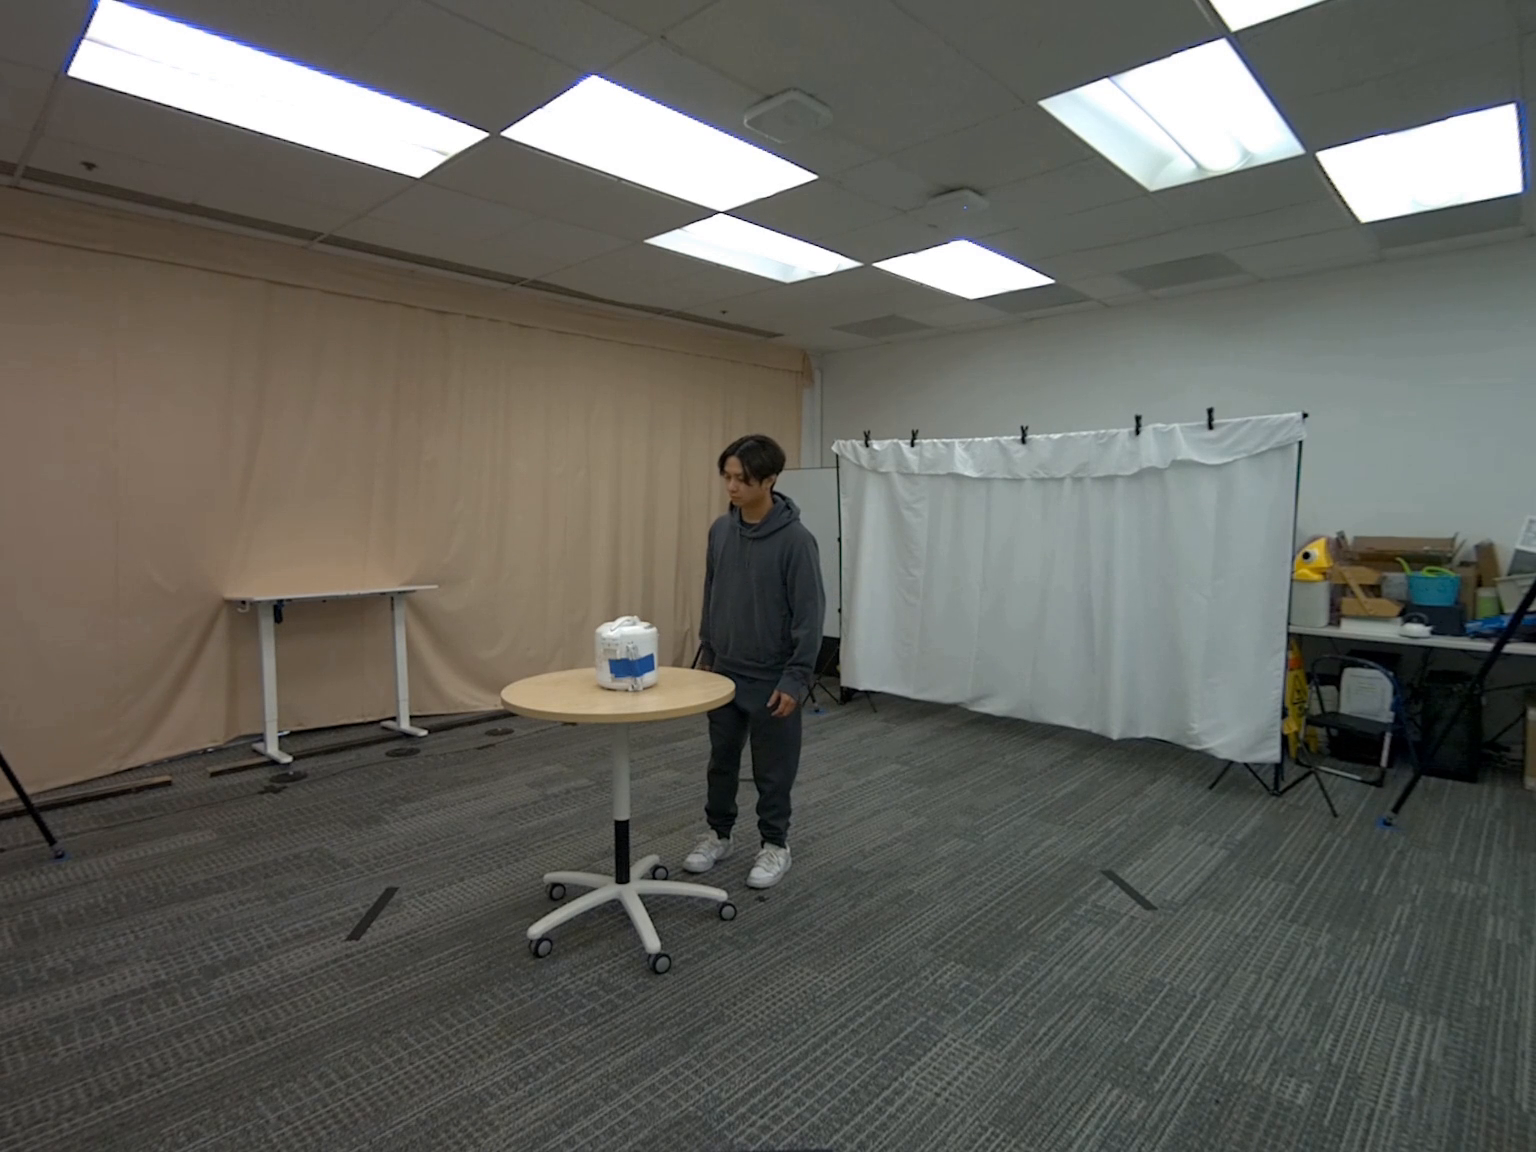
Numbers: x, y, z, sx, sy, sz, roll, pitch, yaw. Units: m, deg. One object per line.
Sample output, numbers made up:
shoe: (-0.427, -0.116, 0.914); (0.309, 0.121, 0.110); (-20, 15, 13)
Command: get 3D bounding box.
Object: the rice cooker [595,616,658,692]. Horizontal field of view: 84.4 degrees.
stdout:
rice cooker: (-0.469, 0.250, 2.792); (0.223, 0.232, 0.215); (2, 3, 24)
